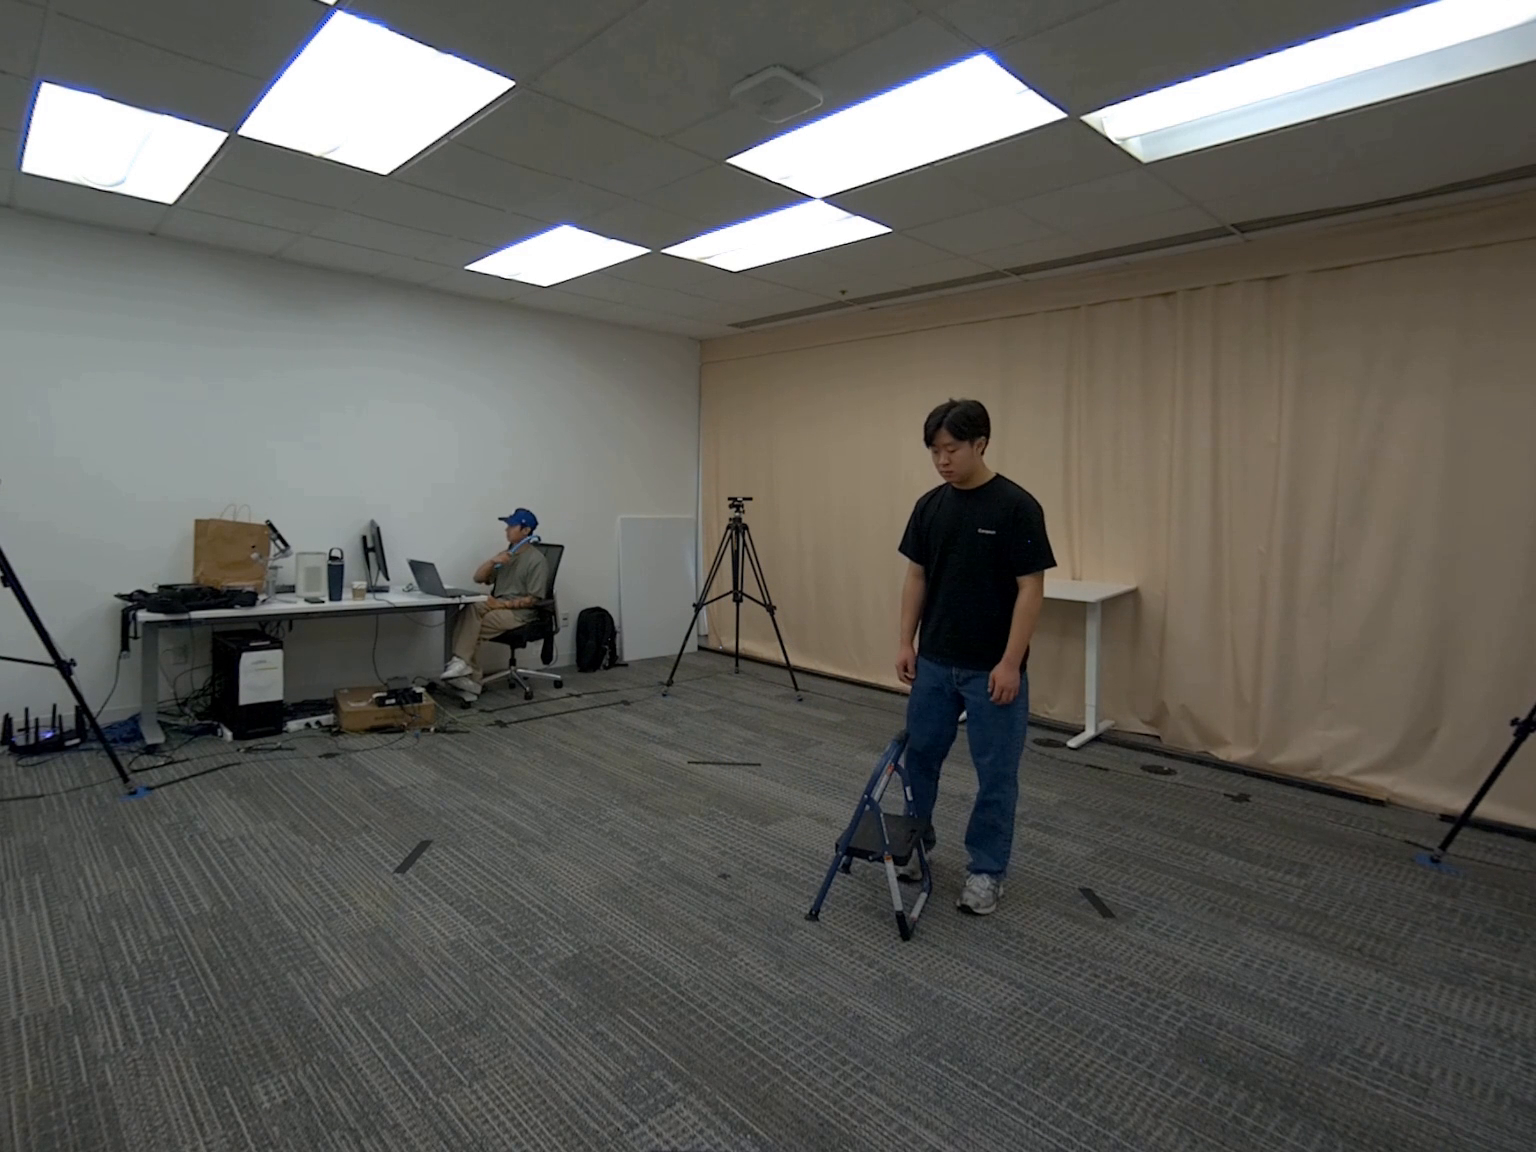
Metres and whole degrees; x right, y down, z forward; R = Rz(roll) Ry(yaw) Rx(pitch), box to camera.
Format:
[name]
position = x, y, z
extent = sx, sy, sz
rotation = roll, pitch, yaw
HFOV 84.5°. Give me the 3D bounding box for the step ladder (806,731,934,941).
[step ladder]
position = 0.364, 0.837, 2.895
extent = 0.355, 0.604, 0.424
rotation = 3, 4, 21
